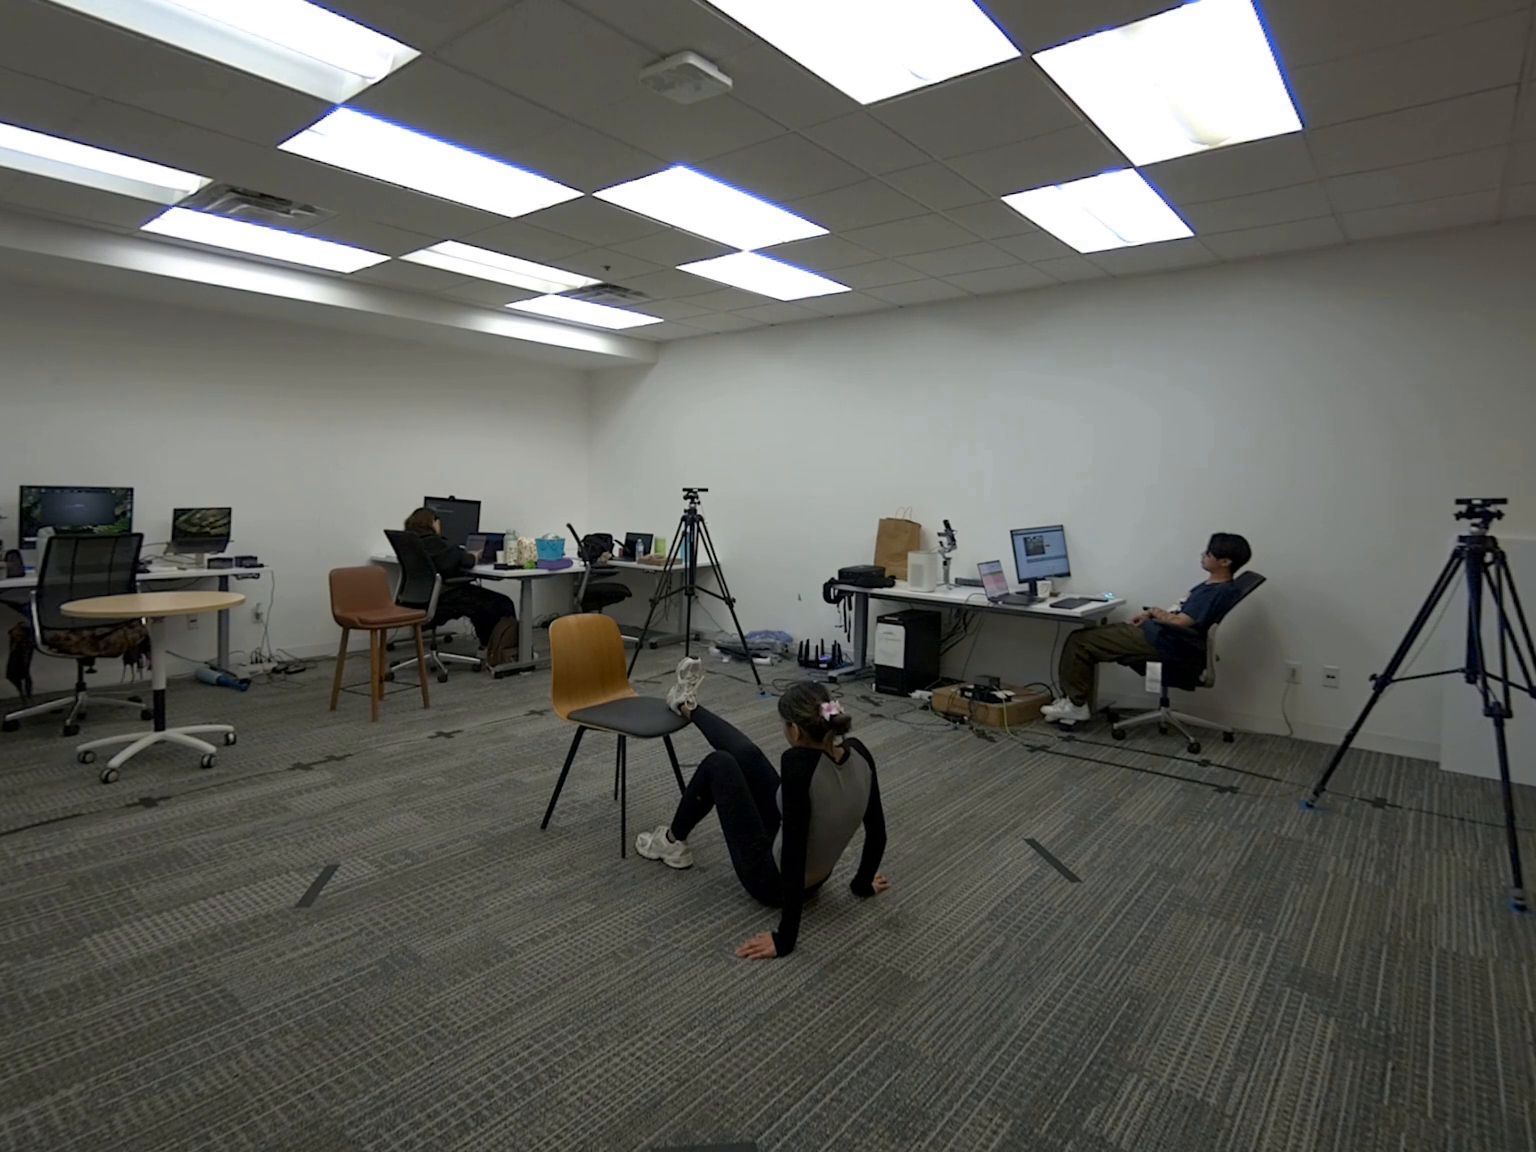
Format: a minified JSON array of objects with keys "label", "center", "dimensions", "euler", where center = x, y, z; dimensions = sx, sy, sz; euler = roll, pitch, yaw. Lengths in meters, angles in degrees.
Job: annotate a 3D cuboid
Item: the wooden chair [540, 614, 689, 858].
[{"label":"wooden chair","center":[-0.607,0.600,3.467],"dimensions":[0.538,0.877,0.464],"euler":[-2,1,35]}]
